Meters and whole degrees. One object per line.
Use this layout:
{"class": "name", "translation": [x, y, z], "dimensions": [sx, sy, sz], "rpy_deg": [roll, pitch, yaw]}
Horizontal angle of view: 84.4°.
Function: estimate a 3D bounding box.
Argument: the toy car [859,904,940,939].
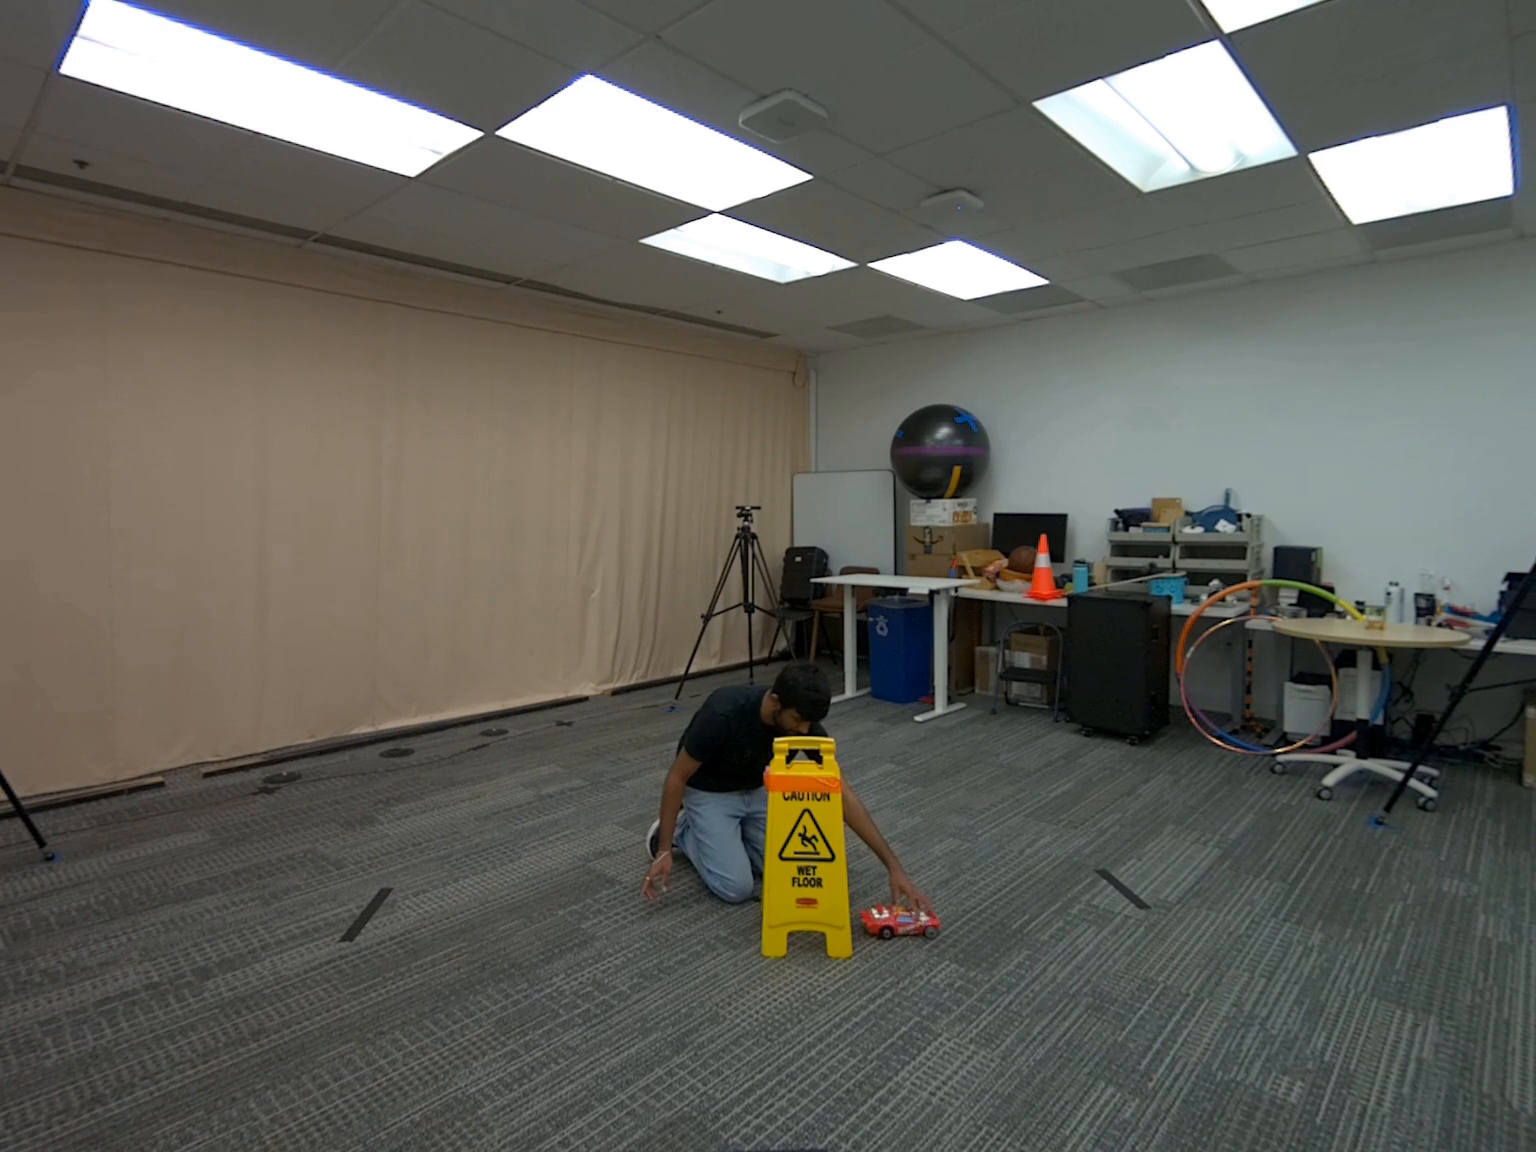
{"class": "toy car", "translation": [0.413, 1.132, 2.747], "dimensions": [0.254, 0.083, 0.131], "rpy_deg": [12, 4, -3]}
